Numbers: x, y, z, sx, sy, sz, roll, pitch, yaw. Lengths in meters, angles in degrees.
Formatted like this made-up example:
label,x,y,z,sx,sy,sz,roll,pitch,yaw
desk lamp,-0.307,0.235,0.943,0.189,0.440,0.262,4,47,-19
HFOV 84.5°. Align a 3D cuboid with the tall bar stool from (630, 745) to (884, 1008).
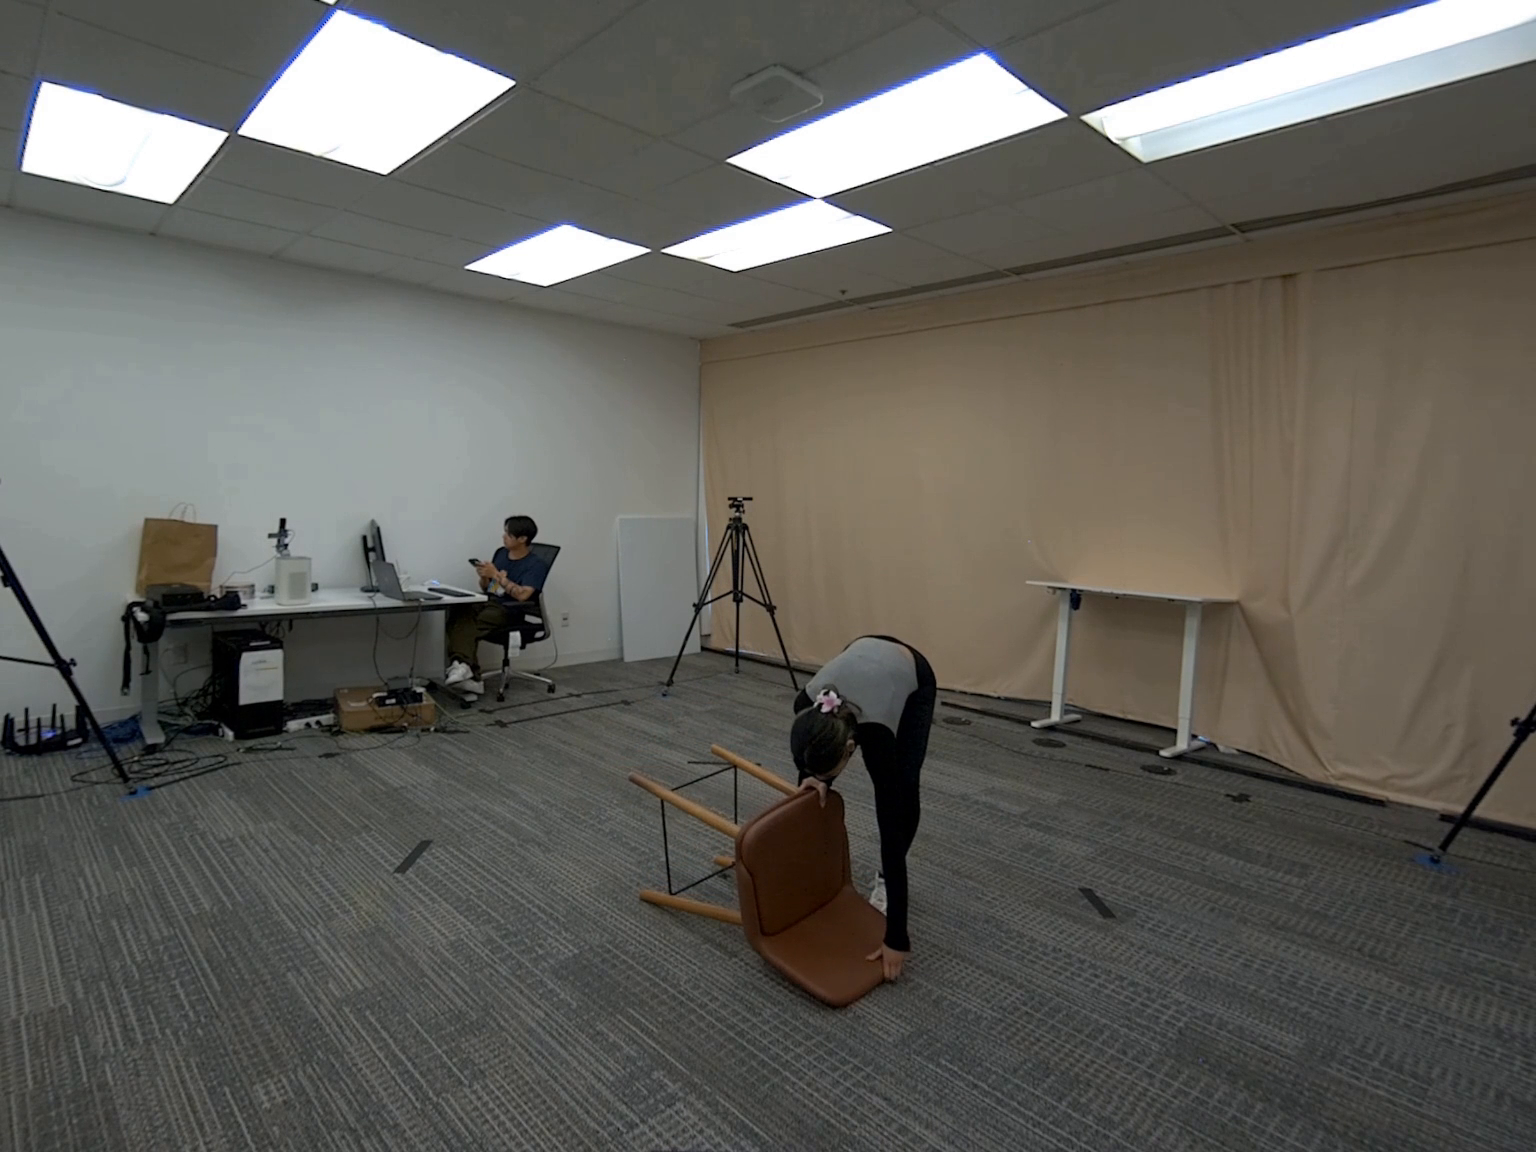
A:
label,x,y,z,sx,sy,sz,roll,pitch,yaw
tall bar stool,-0.018,0.910,2.697,0.913,0.465,0.447,6,10,45
